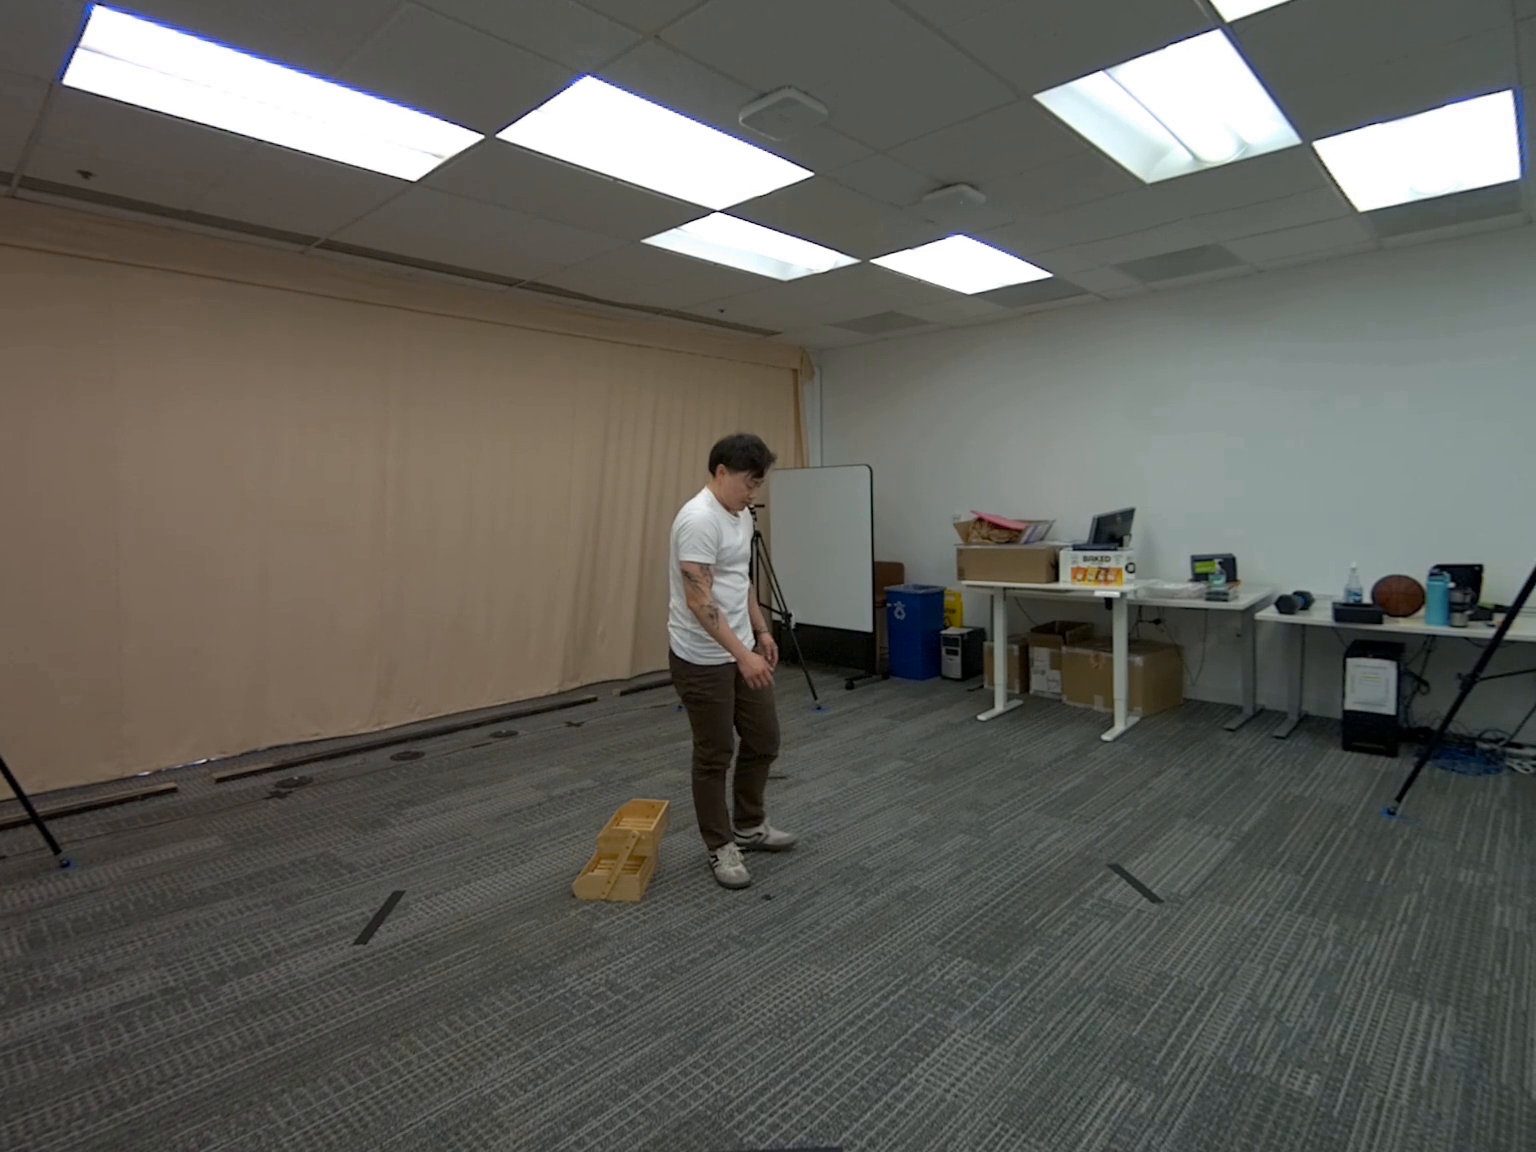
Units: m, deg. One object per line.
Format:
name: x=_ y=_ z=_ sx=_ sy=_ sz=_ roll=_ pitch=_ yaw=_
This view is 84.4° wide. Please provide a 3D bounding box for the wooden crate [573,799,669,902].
wooden crate: x=-0.549 y=1.007 z=3.126 sx=0.304 sy=0.273 sz=0.323 roll=0 pitch=4 yaw=6
